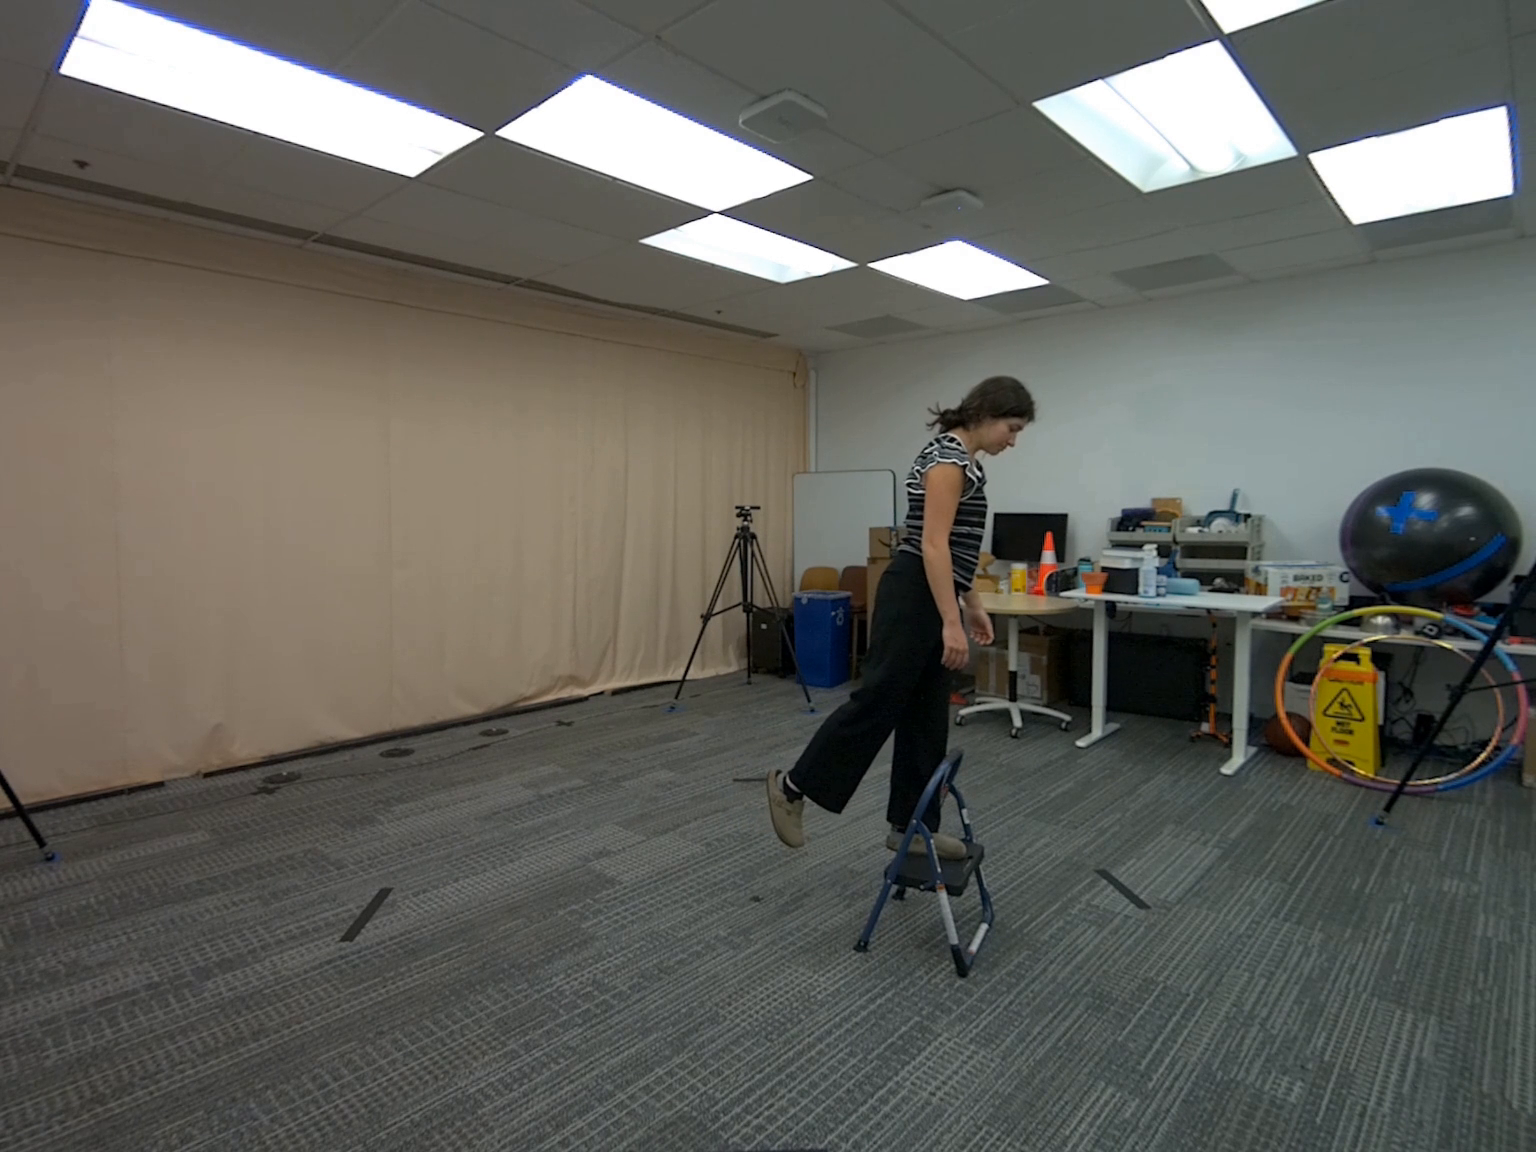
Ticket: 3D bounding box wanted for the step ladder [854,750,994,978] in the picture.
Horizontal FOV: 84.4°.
[{"bbox_3d":[0.522,0.865,2.719,0.359,0.605,0.420,2,4,27],"label":"step ladder"}]
